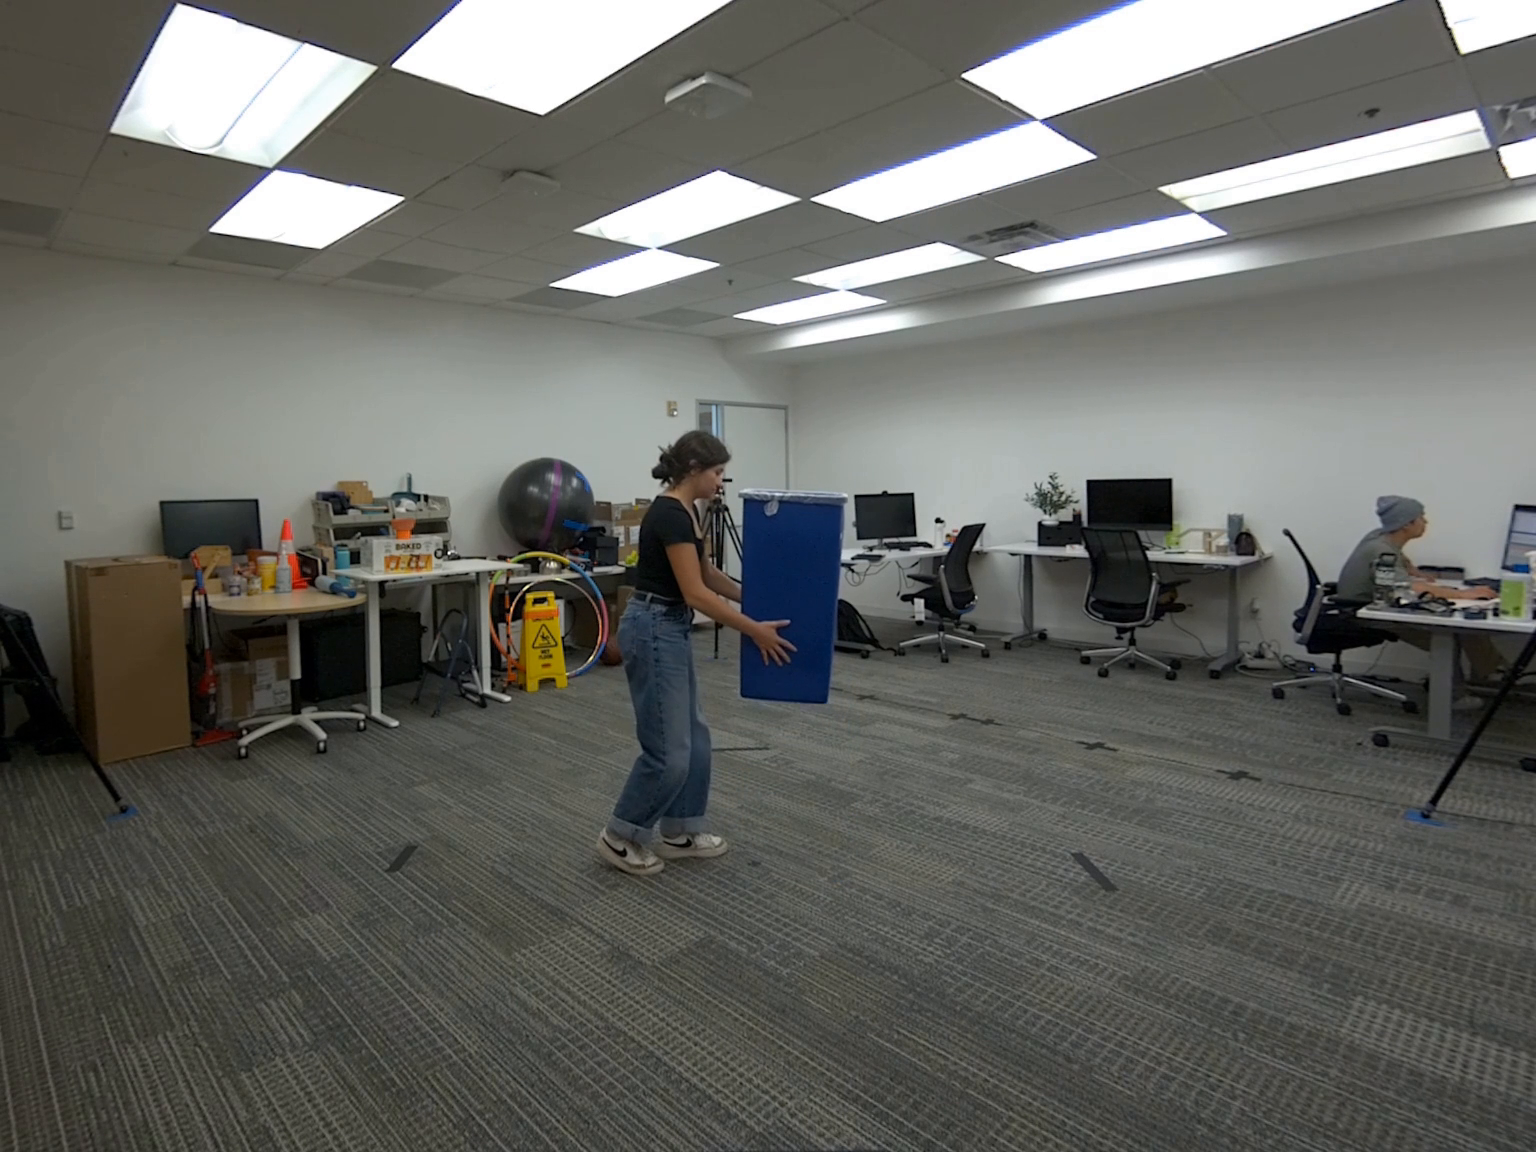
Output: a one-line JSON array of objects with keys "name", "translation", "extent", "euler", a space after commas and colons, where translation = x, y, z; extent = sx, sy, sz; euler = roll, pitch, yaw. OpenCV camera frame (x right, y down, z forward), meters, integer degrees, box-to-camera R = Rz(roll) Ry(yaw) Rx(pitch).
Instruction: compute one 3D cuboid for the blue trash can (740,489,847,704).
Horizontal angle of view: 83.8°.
[{"name": "blue trash can", "translation": [0.073, 0.059, 3.058], "extent": [0.381, 0.709, 0.374], "euler": [3, 7, 5]}]
